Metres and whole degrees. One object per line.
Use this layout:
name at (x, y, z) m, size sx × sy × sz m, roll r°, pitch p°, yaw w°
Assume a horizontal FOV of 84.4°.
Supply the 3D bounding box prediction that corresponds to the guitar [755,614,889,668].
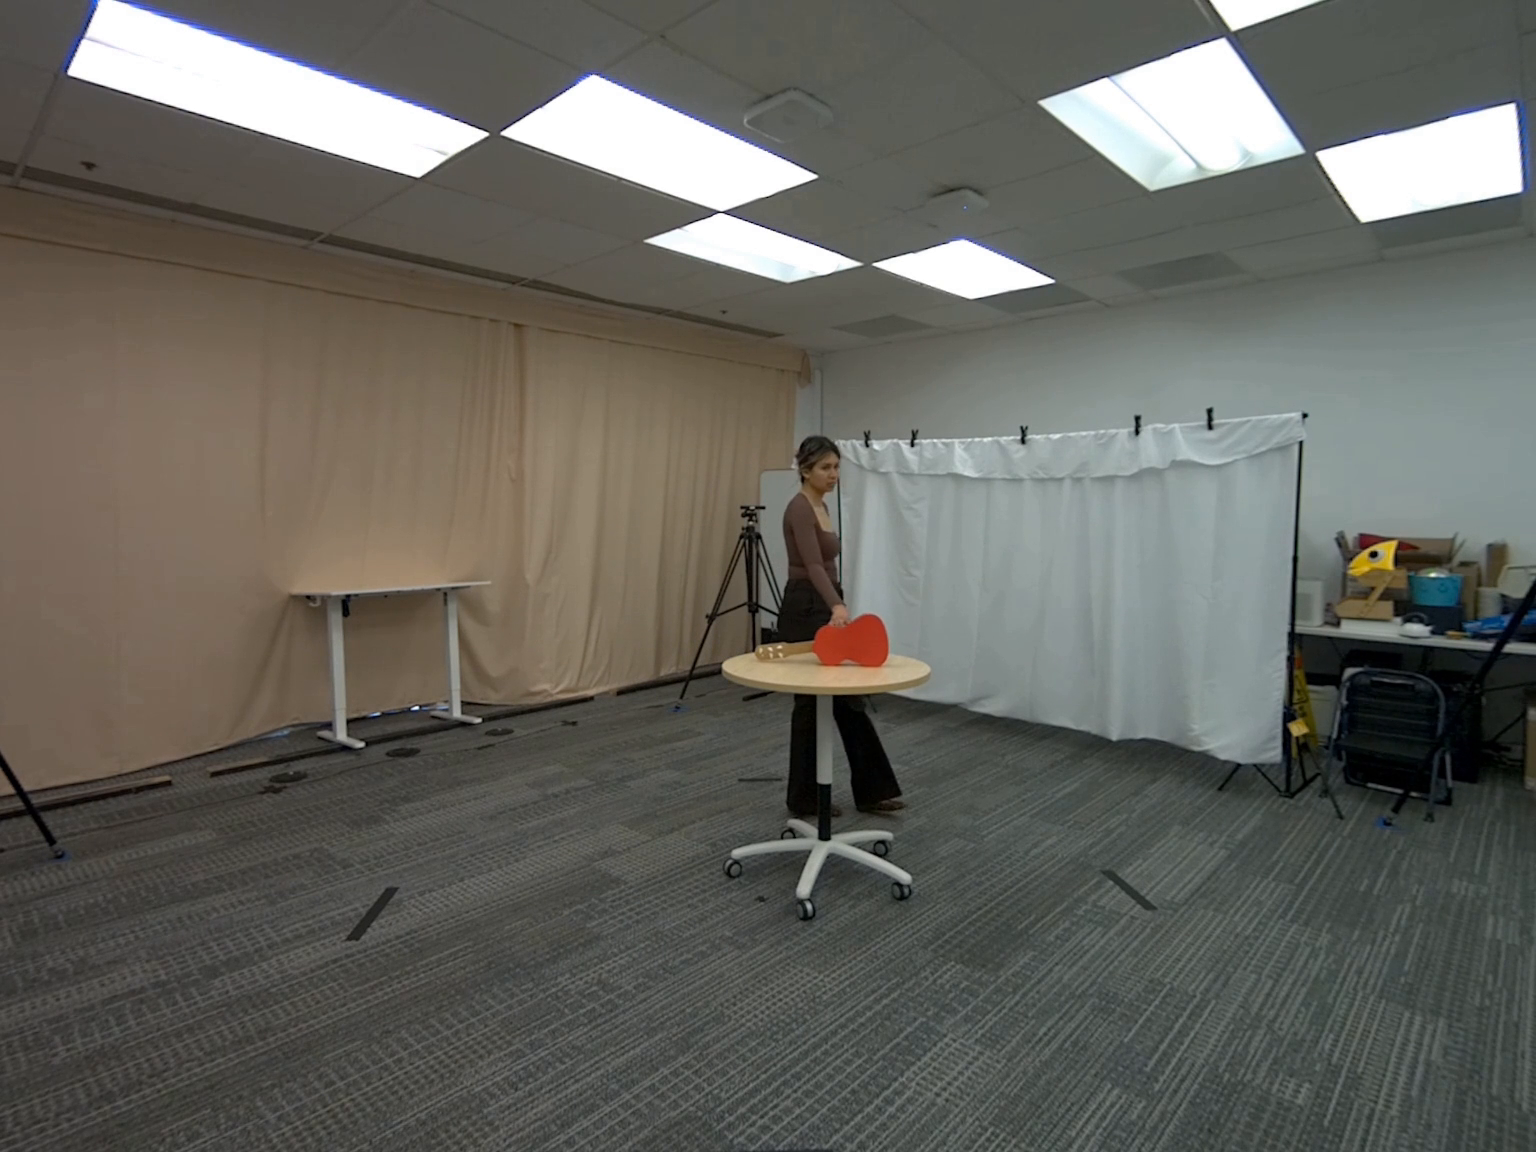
guitar at (0.199, 0.286, 3.156) m, size 0.502 × 0.193 × 0.070 m, roll -16°, pitch -2°, yaw 10°
